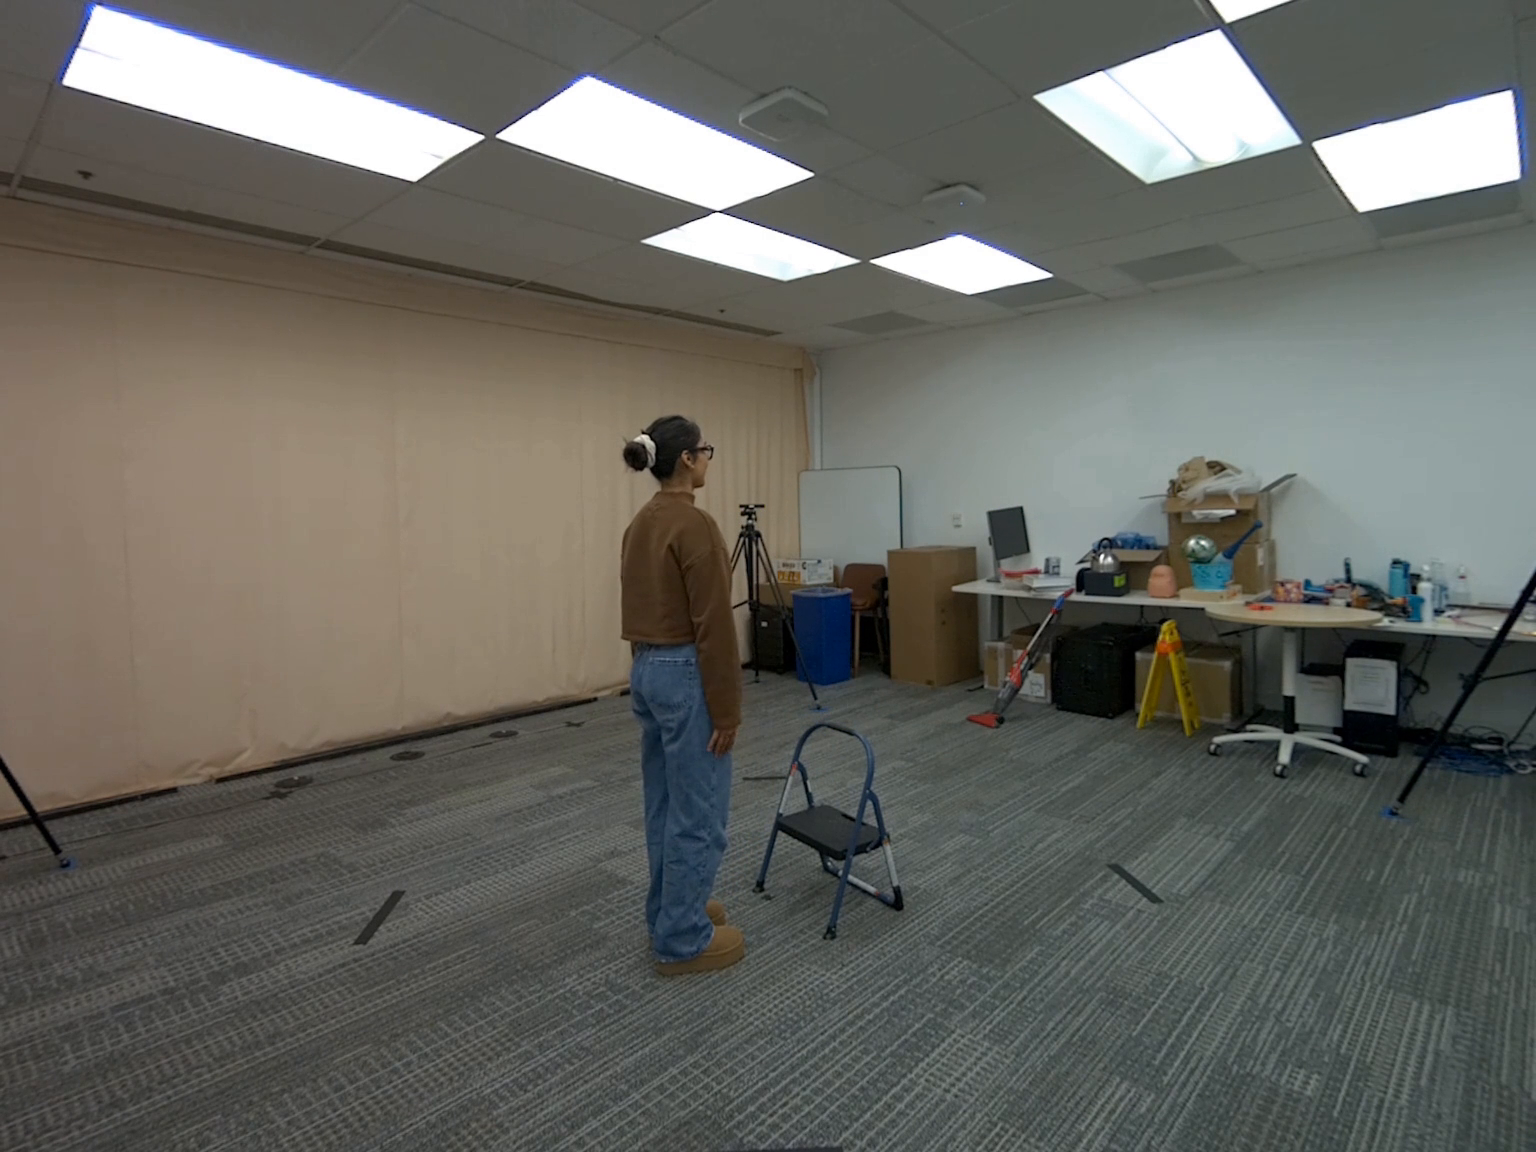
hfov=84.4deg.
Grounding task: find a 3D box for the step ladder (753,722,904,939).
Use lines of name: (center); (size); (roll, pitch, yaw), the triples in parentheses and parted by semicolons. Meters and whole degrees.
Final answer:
step ladder: (0.206, 0.834, 2.938); (0.339, 0.605, 0.444); (-3, 4, -35)
